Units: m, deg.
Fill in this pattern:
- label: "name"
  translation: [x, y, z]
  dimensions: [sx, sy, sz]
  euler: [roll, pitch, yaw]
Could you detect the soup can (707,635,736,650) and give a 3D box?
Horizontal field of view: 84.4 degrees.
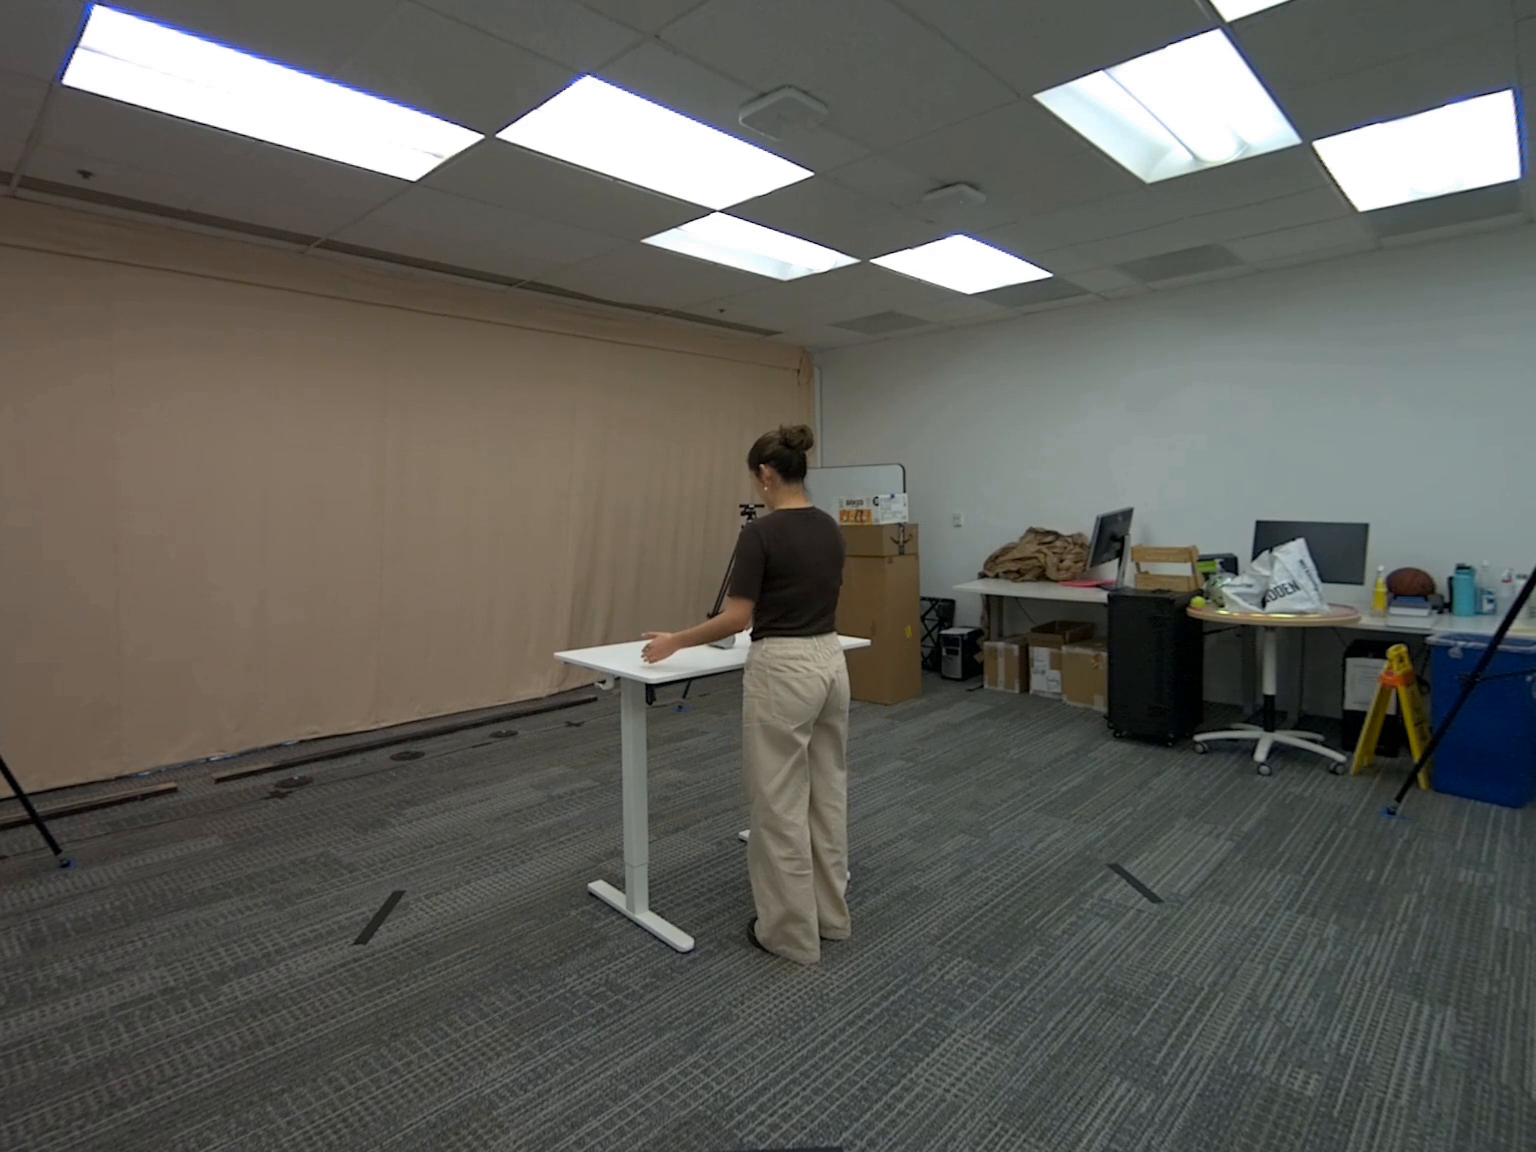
- label: "soup can"
  translation: [-0.168, 0.222, 3.031]
  dimensions: [0.065, 0.067, 0.125]
  euler: [-3, 4, -31]
